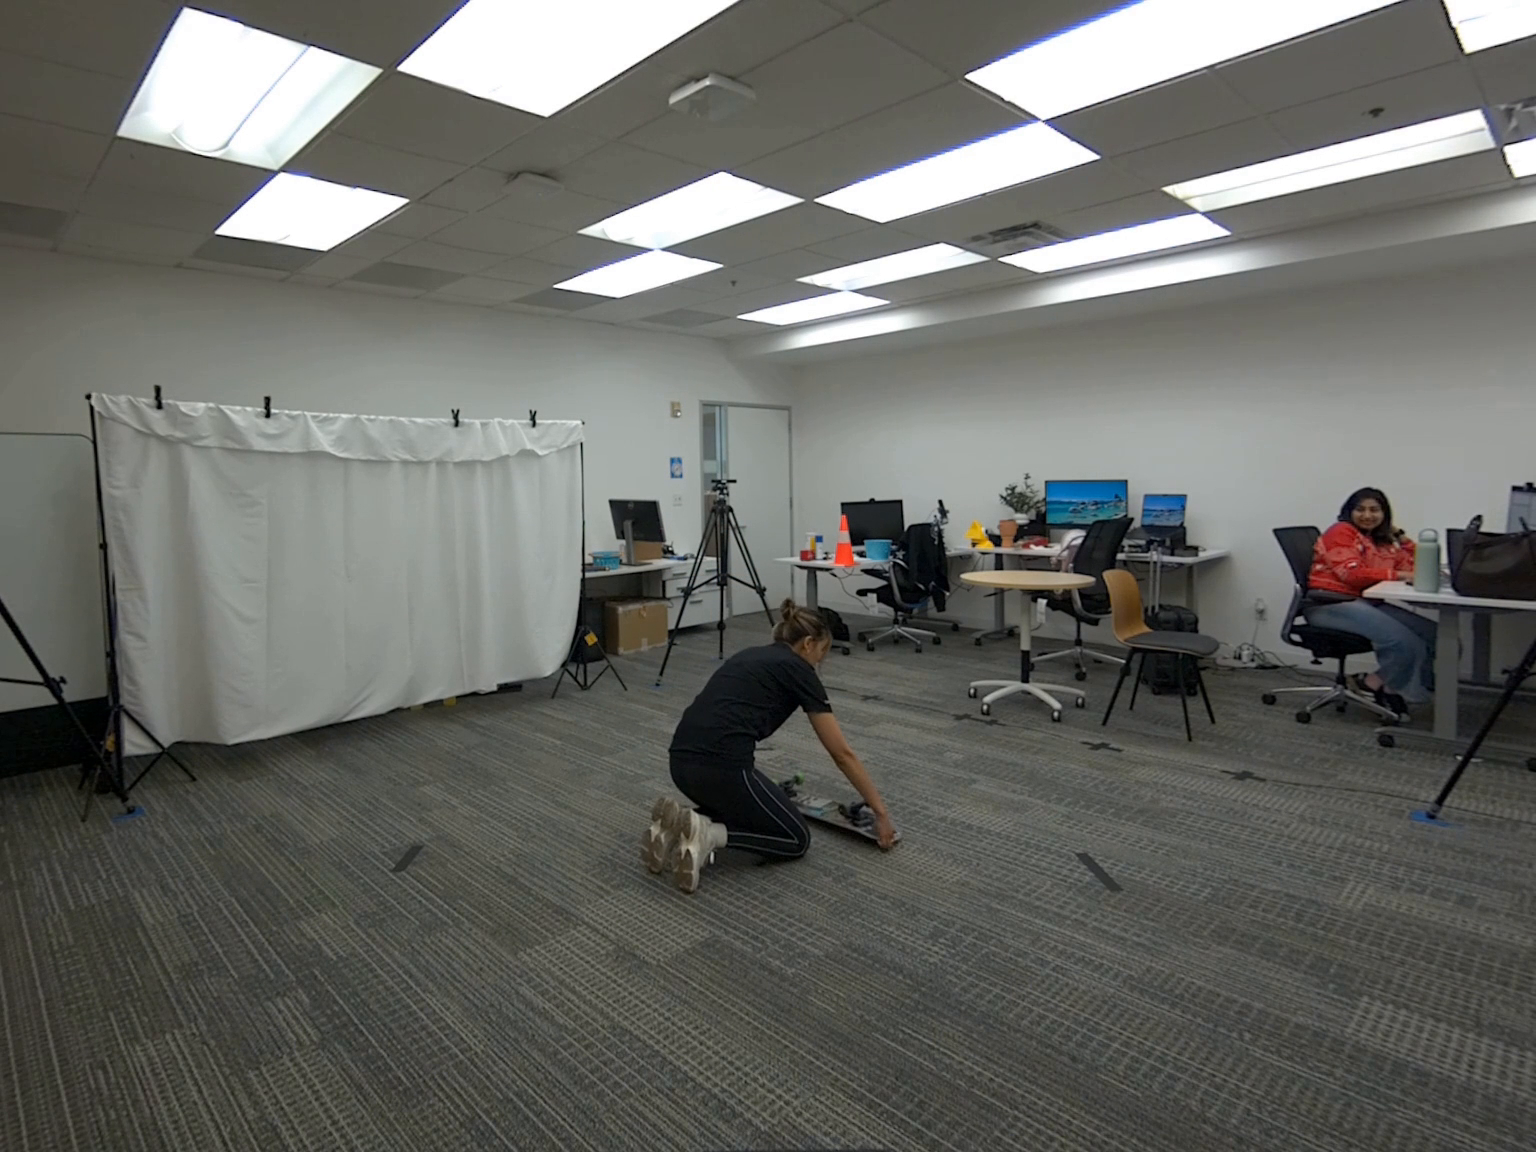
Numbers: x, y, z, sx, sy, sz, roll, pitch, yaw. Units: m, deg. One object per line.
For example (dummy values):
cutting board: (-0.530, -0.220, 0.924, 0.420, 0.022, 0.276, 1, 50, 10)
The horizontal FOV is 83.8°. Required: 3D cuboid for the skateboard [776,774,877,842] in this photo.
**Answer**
skateboard: (0.217, 0.928, 3.535, 0.188, 0.110, 0.809, 0, 3, -43)
